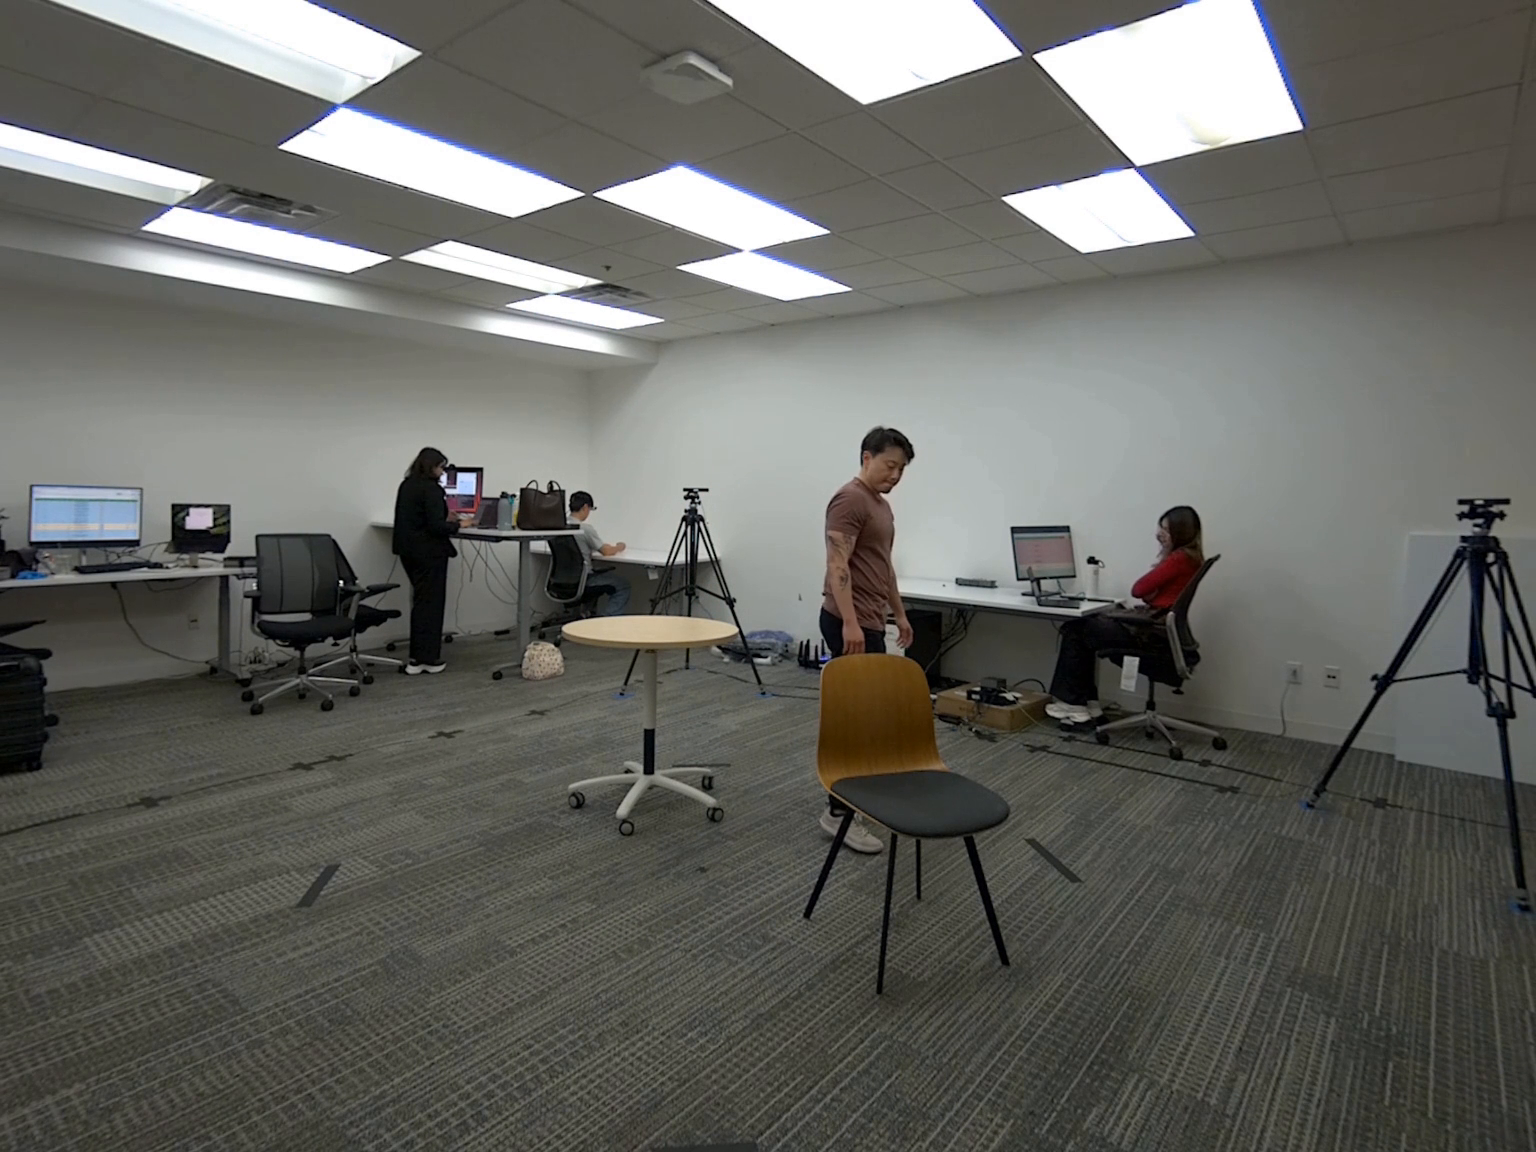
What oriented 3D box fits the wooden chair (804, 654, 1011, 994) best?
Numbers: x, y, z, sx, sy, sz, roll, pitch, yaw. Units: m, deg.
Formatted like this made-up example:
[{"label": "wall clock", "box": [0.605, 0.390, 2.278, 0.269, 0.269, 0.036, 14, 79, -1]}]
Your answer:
[{"label": "wooden chair", "box": [0.421, 0.707, 2.607, 0.467, 0.878, 0.535, 0, 0, -24]}]
